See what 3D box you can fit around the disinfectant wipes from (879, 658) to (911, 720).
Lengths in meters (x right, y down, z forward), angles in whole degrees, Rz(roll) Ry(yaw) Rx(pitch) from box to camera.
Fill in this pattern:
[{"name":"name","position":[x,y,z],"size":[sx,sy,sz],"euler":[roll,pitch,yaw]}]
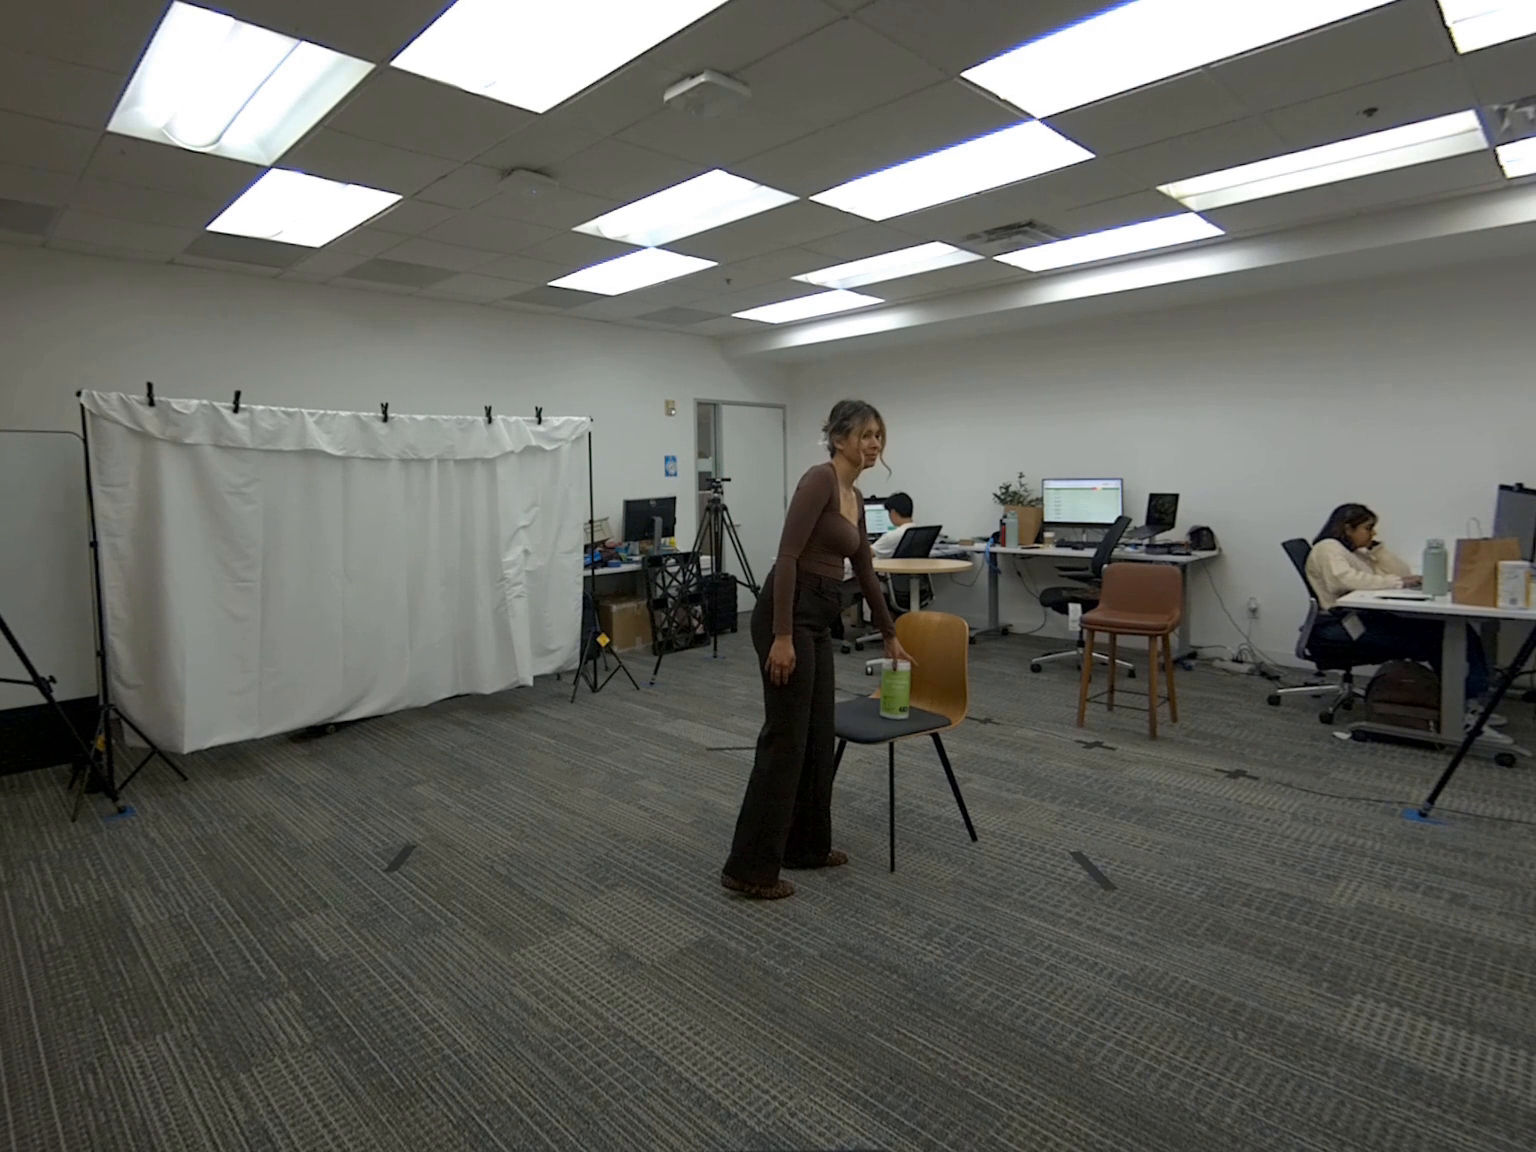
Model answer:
[{"name":"disinfectant wipes","position":[0.495,0.437,3.292],"size":[0.118,0.217,0.118],"euler":[3,2,-2]}]
